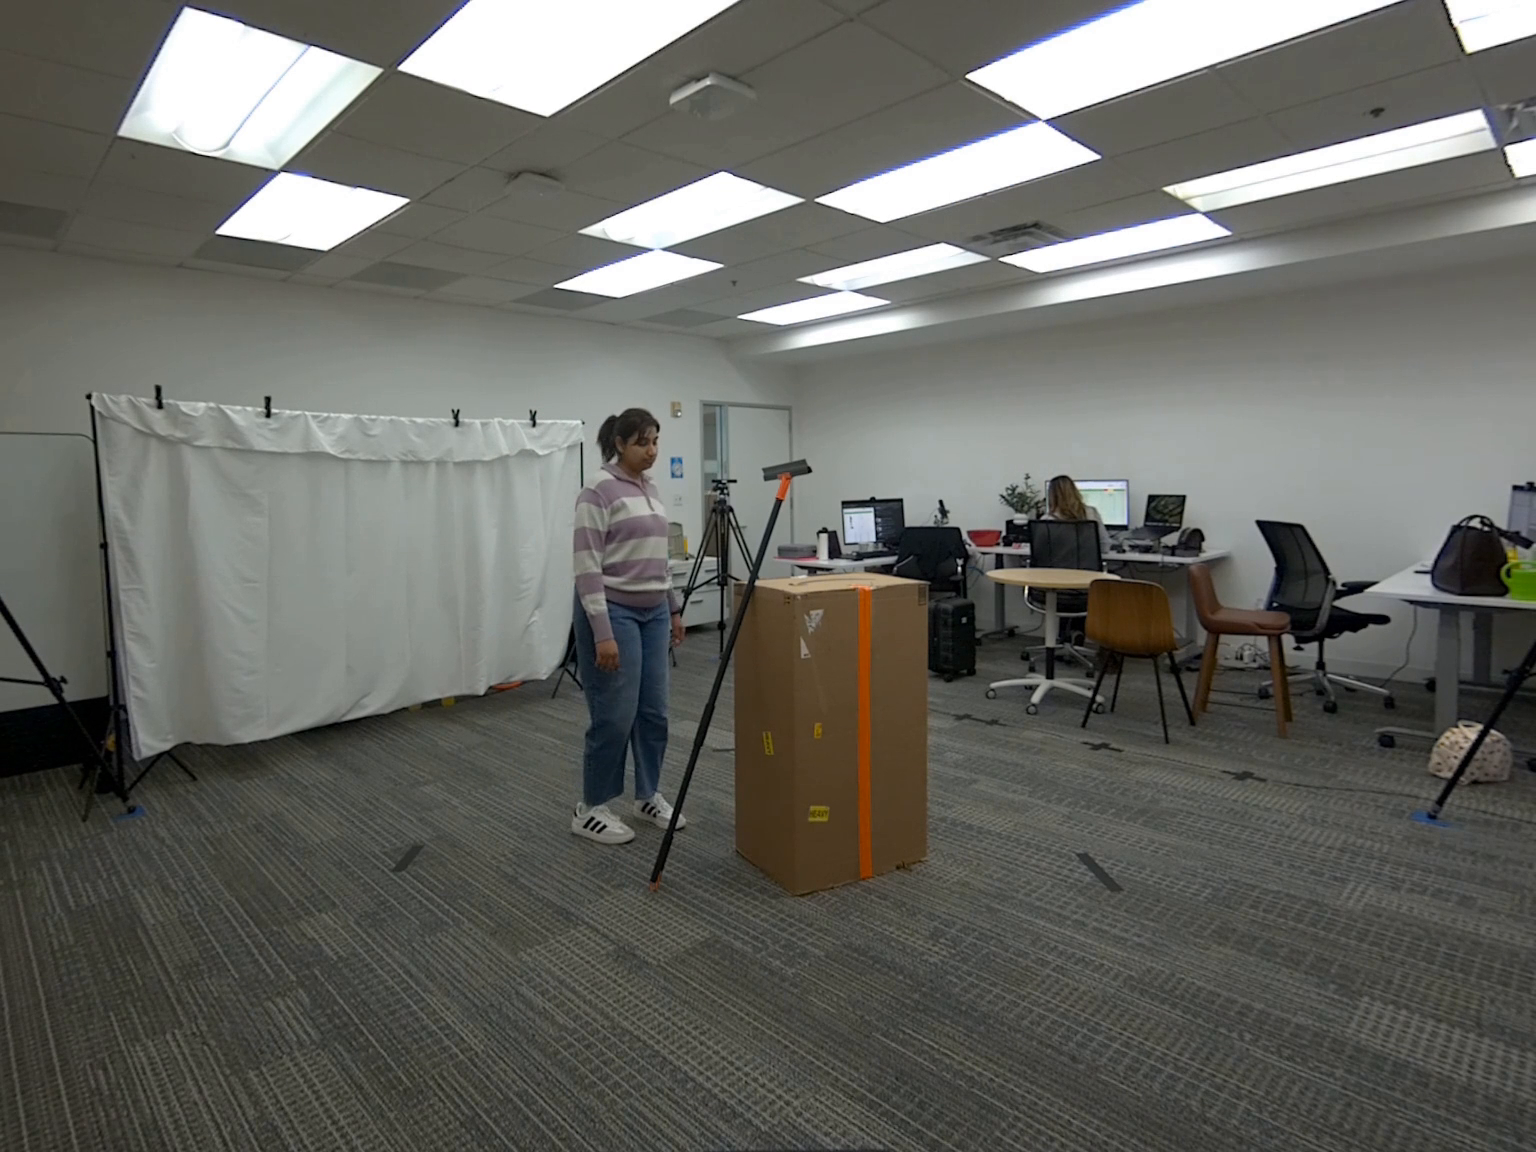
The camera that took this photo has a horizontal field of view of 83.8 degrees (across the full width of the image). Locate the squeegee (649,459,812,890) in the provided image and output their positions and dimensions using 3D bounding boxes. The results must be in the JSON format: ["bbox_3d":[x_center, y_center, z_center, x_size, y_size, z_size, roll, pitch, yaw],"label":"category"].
[{"bbox_3d":[-0.168,0.336,3.004,0.052,1.543,0.446,20,-7,-21],"label":"squeegee"}]
